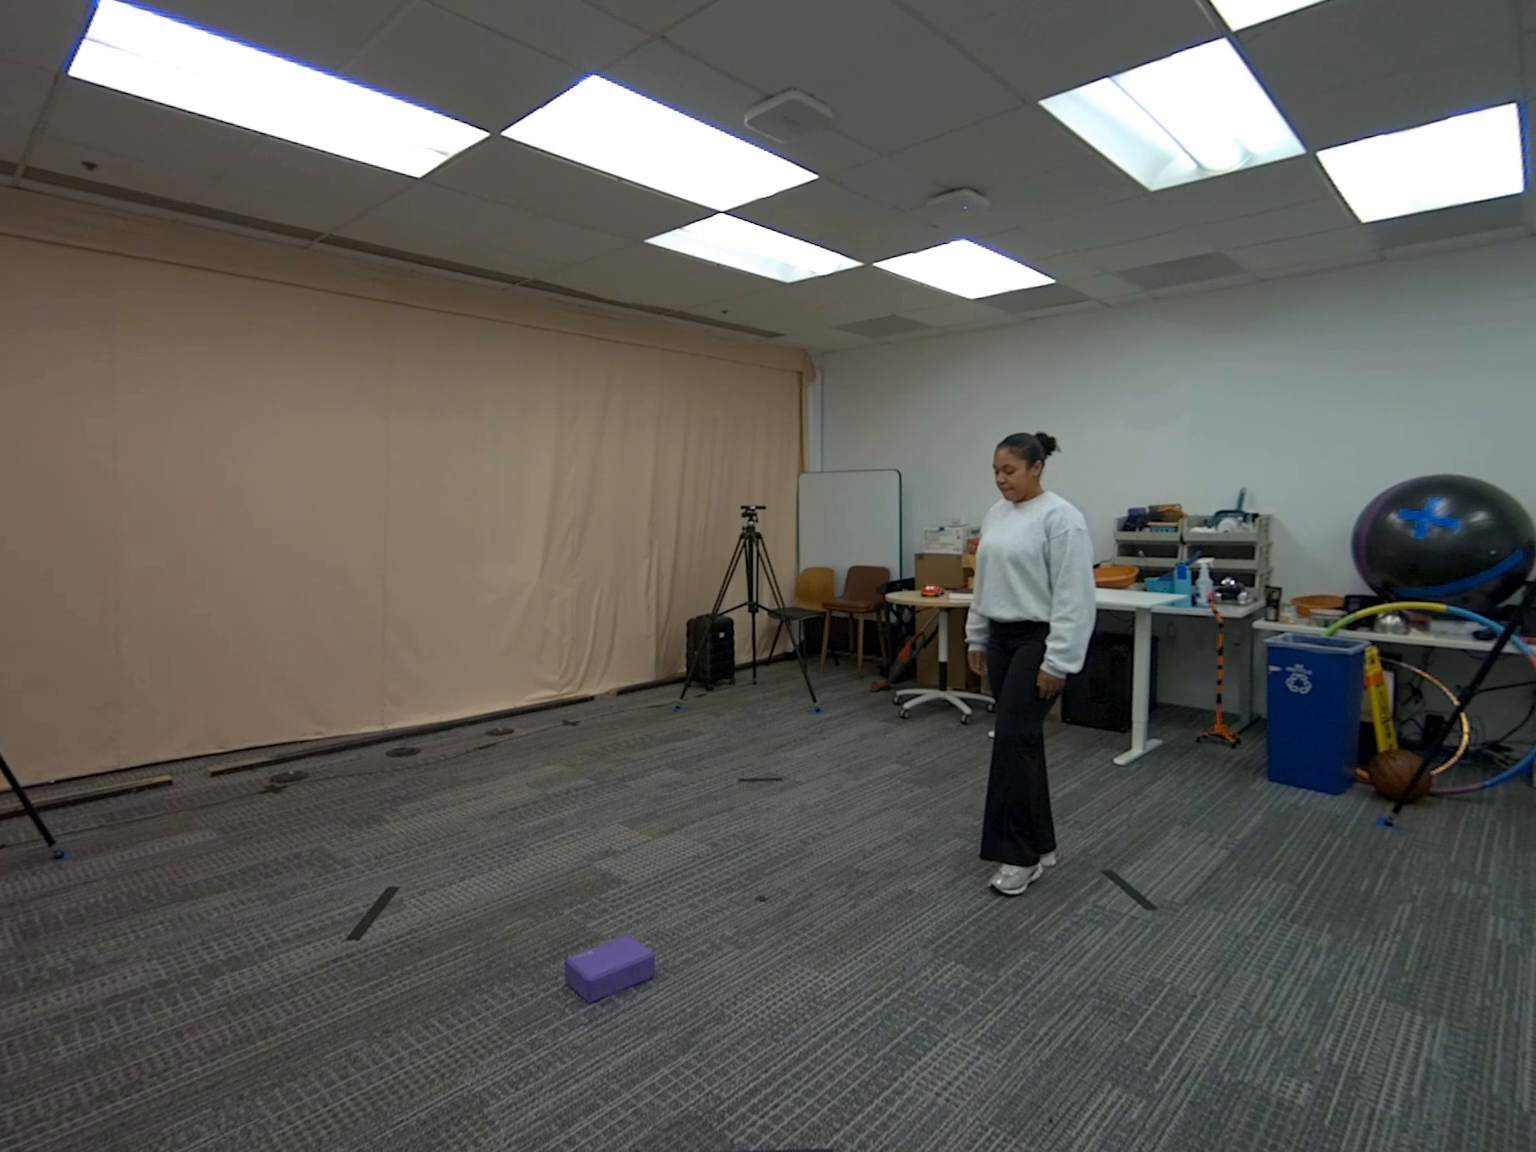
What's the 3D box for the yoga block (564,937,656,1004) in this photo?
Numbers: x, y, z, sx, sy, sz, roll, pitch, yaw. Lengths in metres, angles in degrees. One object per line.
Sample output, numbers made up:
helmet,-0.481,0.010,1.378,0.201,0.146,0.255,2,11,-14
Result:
yoga block,-0.462,1.151,2.467,0.222,0.076,0.154,-4,5,-39
